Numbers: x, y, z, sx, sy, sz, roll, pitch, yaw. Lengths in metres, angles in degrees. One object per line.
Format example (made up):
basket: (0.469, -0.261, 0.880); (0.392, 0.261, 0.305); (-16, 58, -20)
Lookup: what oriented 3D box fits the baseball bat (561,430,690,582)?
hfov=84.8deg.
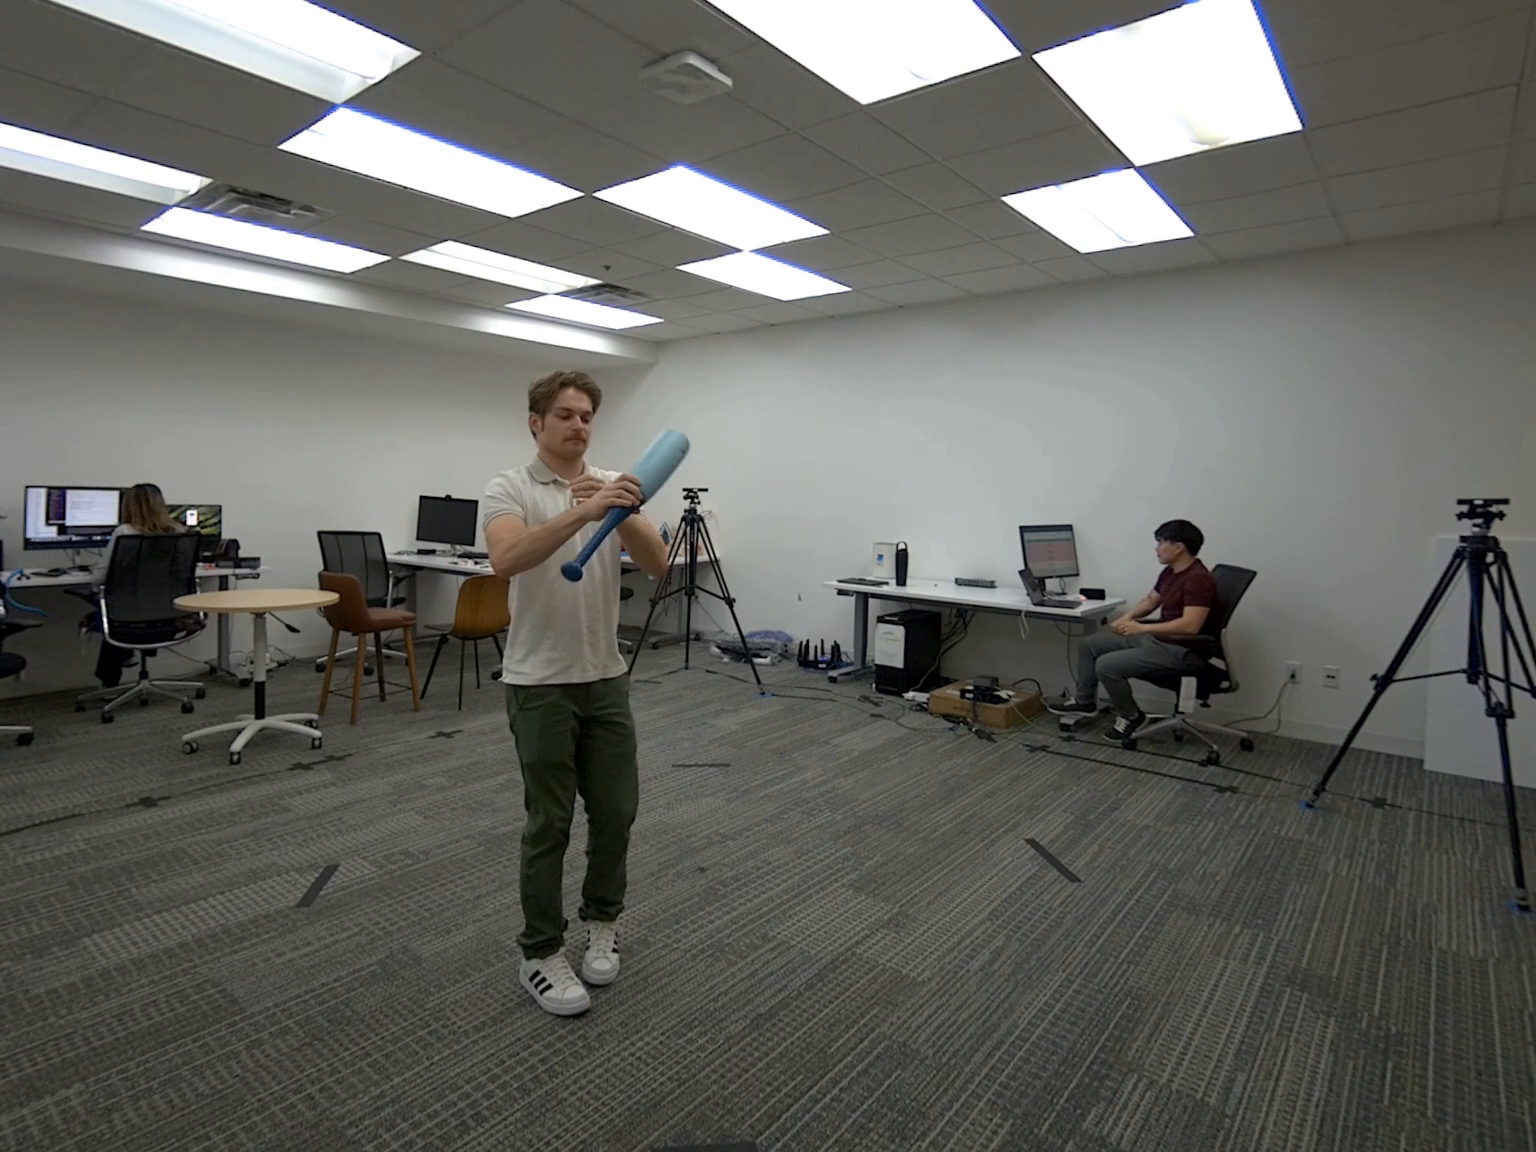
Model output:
baseball bat: (-0.338, -0.168, 1.994); (0.091, 0.086, 0.548); (2, 43, 25)
